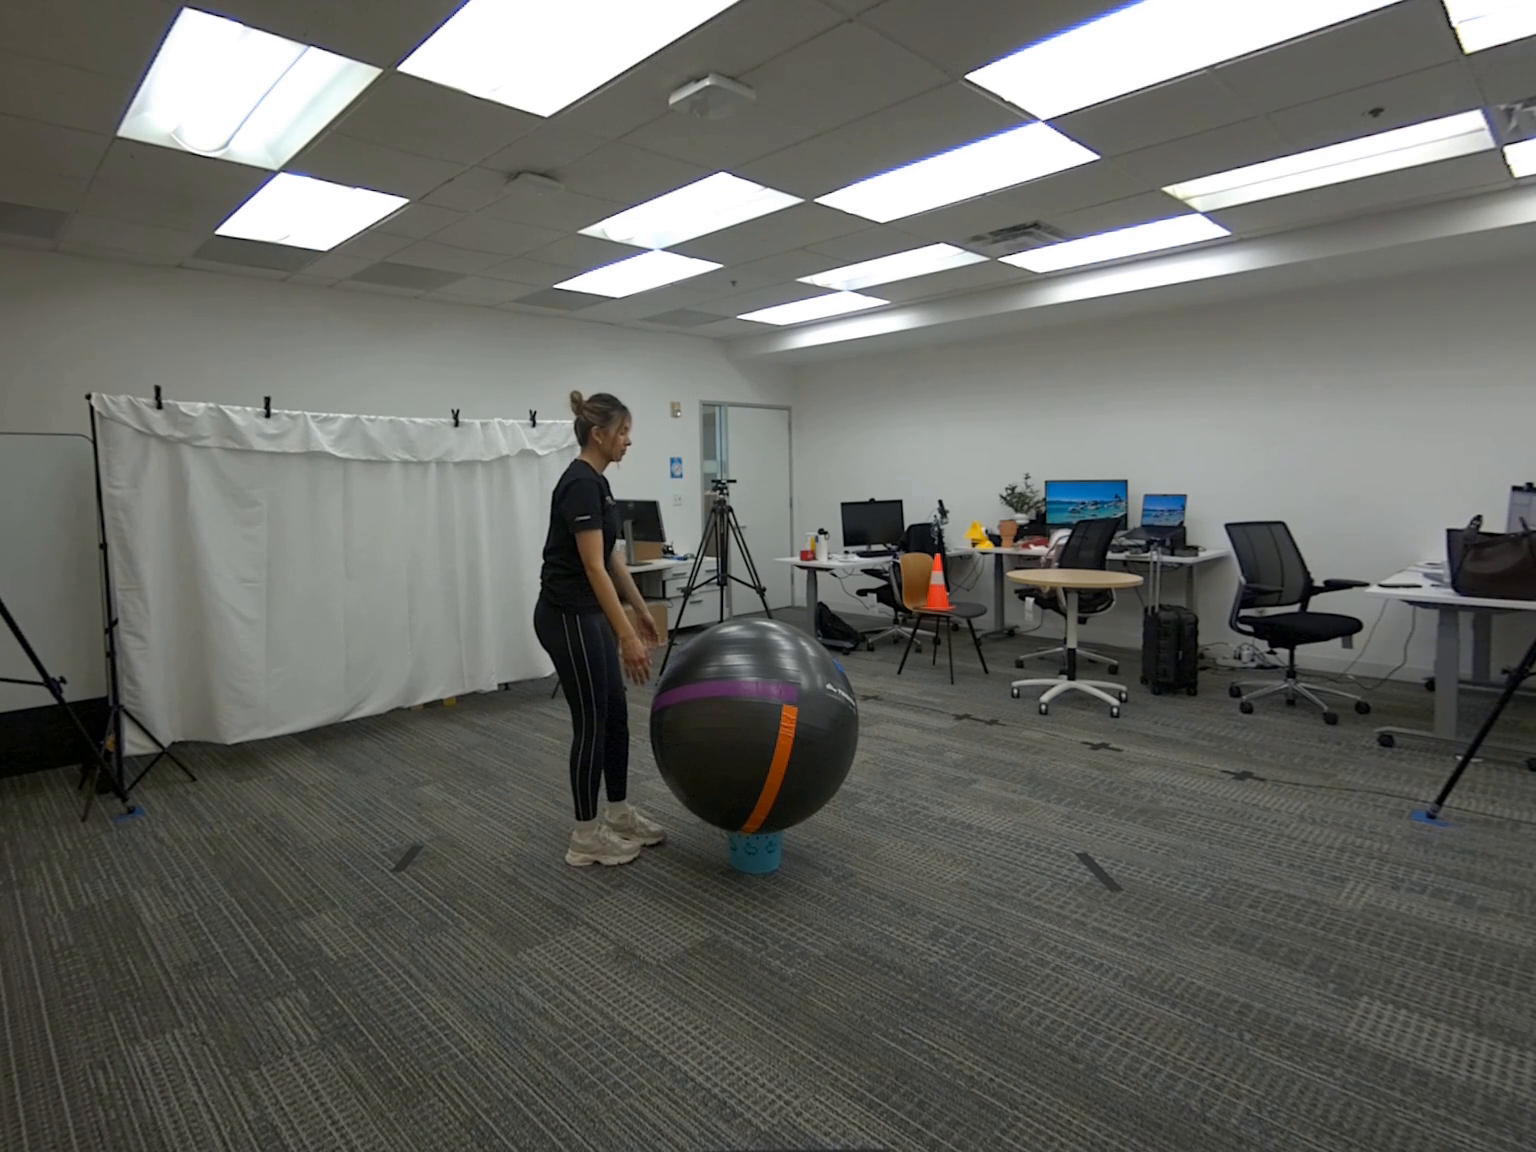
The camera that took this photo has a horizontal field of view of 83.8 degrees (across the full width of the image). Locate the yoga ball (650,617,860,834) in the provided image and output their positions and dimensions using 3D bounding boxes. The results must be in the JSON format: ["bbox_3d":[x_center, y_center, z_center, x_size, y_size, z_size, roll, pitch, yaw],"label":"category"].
[{"bbox_3d":[-0.055,0.536,3.101,0.757,0.755,0.762,-1,5,-2],"label":"yoga ball"}]
